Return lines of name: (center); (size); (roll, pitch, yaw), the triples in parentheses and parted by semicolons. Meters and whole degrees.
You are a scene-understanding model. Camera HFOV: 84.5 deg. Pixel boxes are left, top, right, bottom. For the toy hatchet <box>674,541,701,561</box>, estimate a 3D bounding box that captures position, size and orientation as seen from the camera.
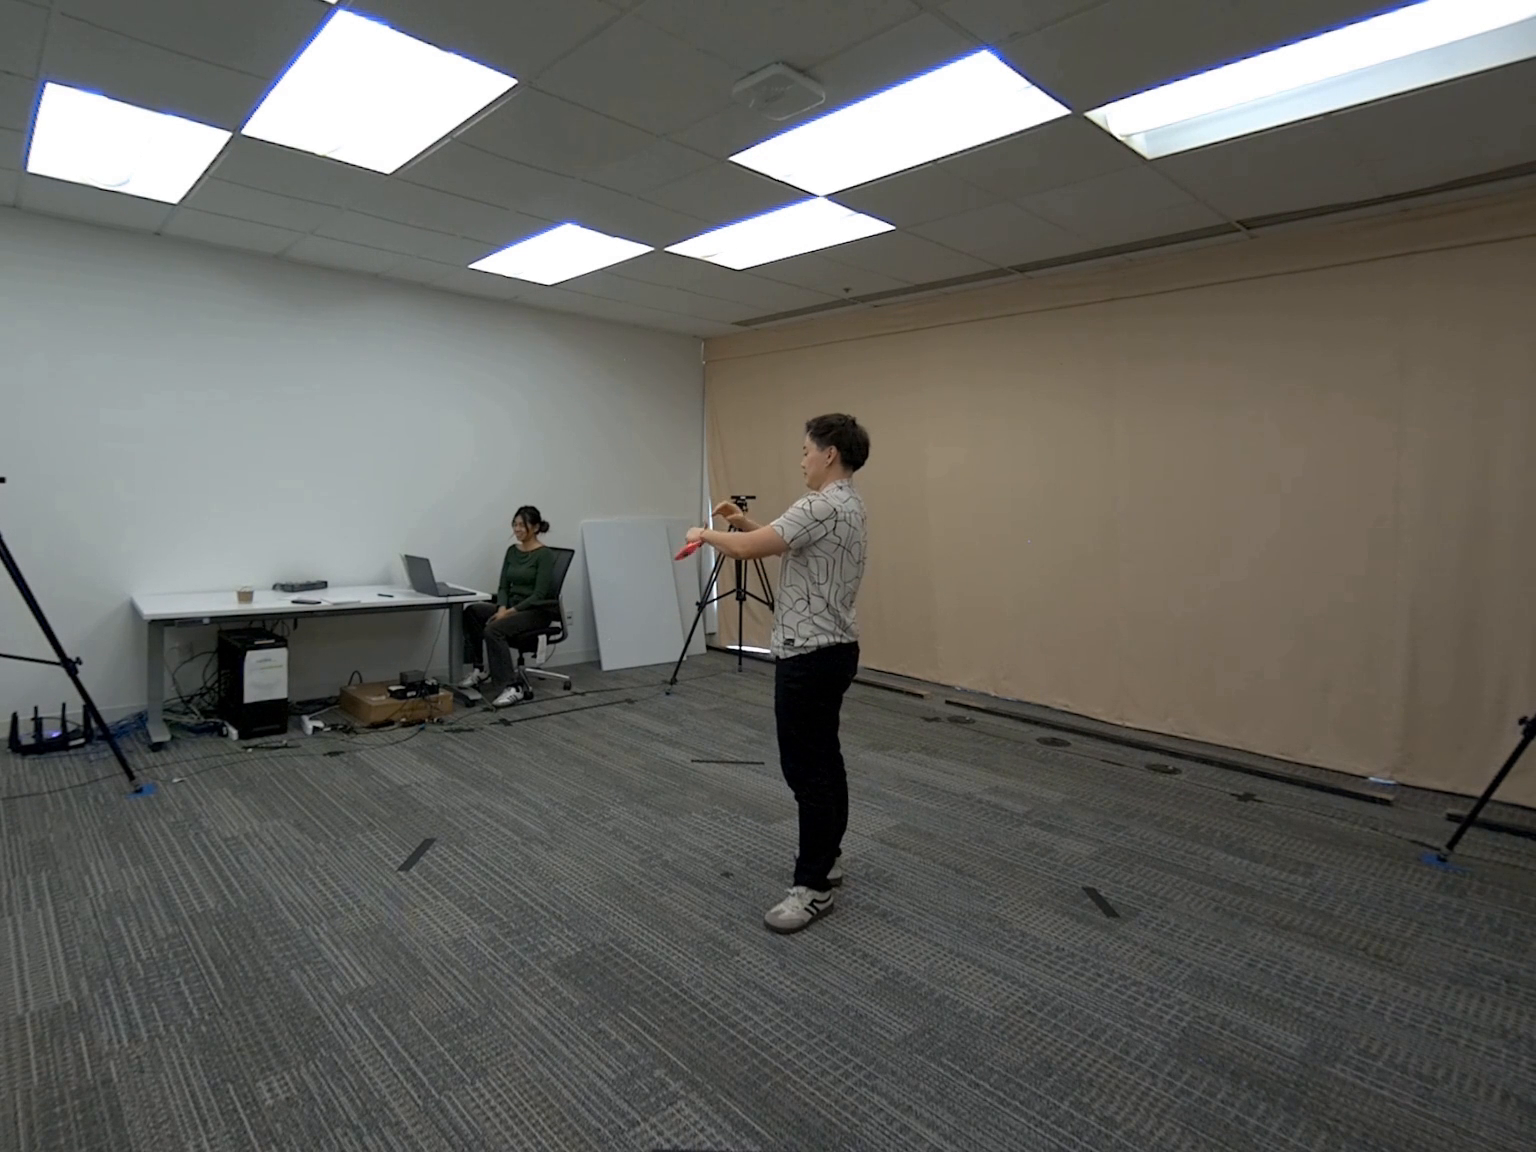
toy hatchet: (-0.284, -0.122, 3.064); (0.131, 0.029, 0.273); (-39, 13, 13)
